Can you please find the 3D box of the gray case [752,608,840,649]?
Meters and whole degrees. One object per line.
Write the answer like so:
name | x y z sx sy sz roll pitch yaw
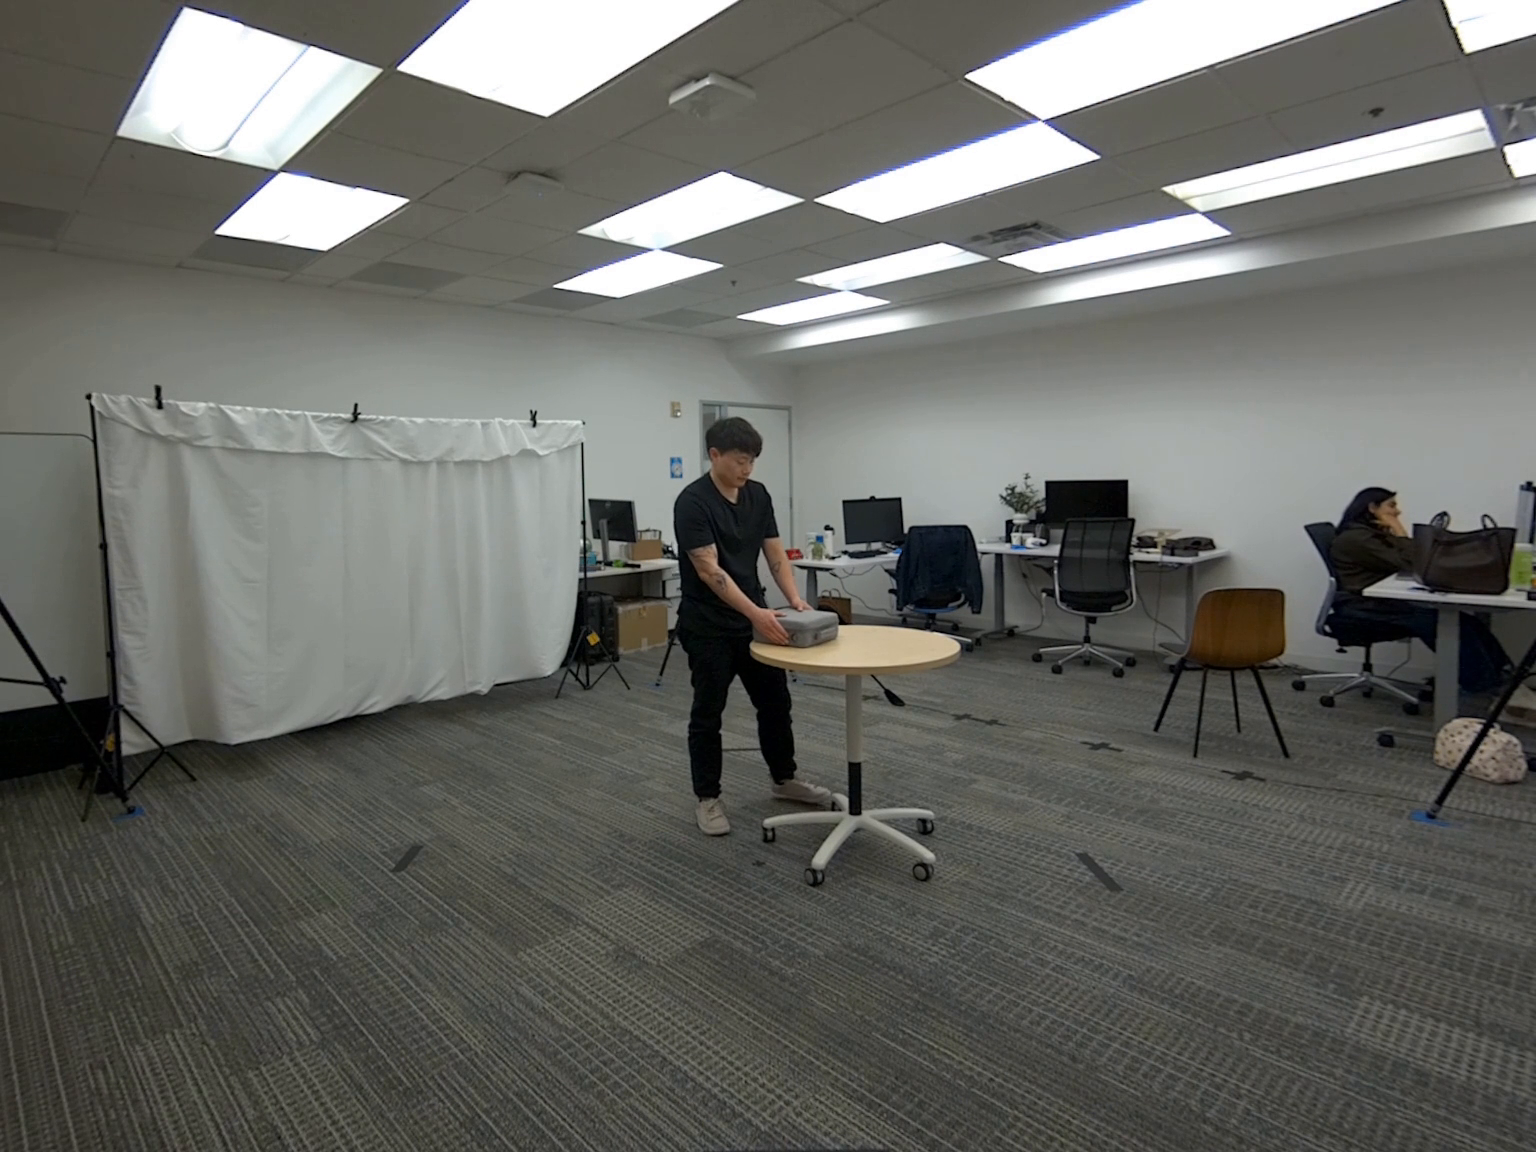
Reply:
gray case | 0.114 0.194 3.239 0.268 0.104 0.250 2 5 34
